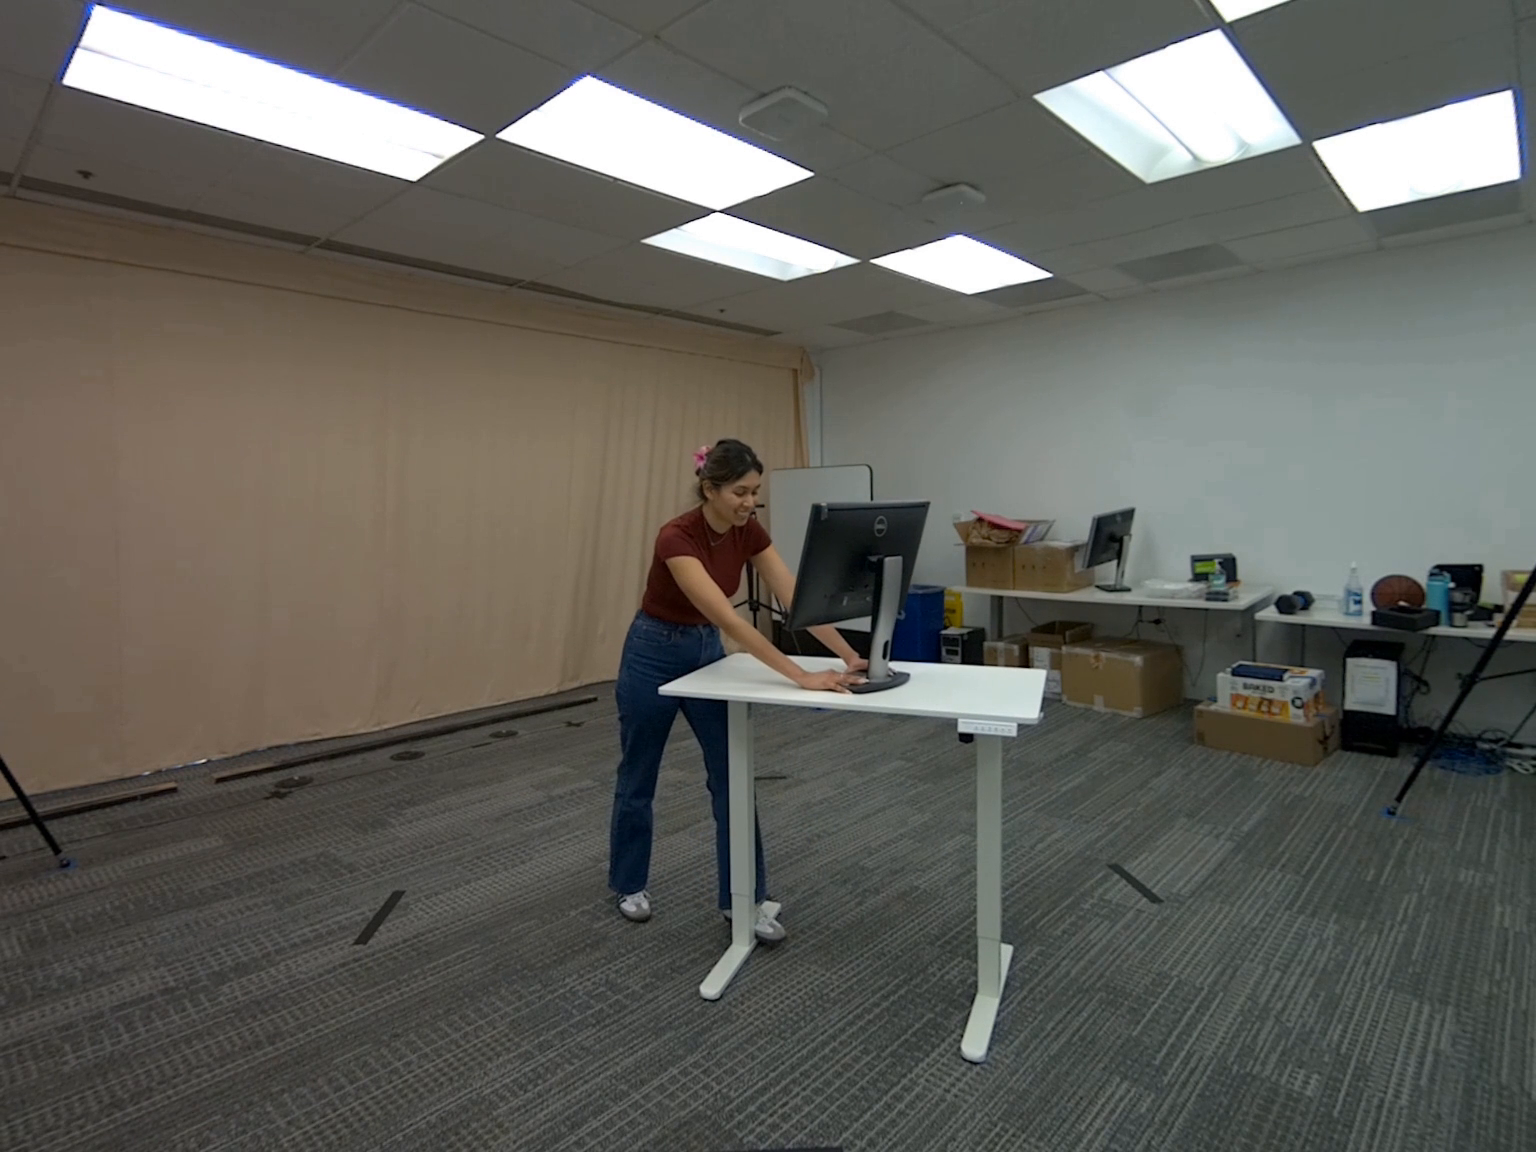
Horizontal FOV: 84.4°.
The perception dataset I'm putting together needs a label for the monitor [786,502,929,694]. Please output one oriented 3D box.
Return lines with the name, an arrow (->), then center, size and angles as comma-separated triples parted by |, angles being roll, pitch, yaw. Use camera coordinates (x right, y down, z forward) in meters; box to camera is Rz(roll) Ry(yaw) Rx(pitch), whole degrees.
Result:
monitor -> 0.292, 0.052, 2.356 | 0.193, 0.521, 0.523 | 3, 5, 40
